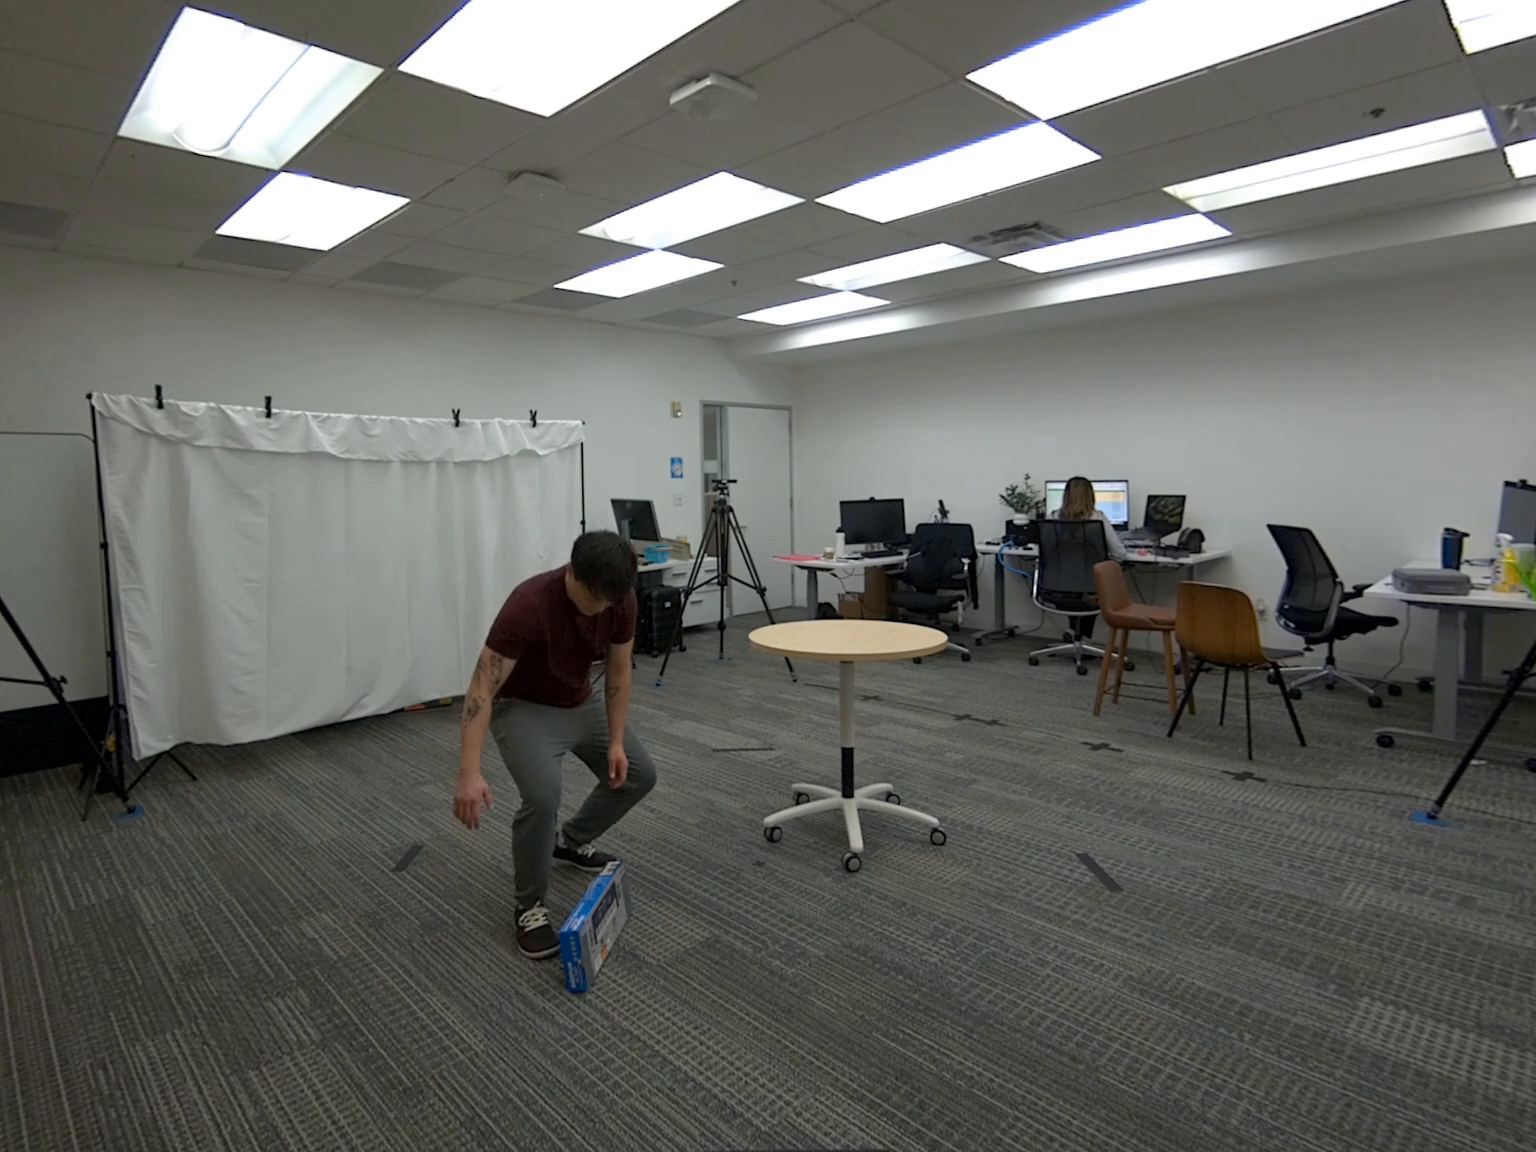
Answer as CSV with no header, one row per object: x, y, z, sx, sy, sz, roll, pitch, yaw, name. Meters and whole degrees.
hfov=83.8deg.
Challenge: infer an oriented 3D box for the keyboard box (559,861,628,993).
-0.508,1.035,2.554,0.059,0.175,0.435,-9,5,8,keyboard box
